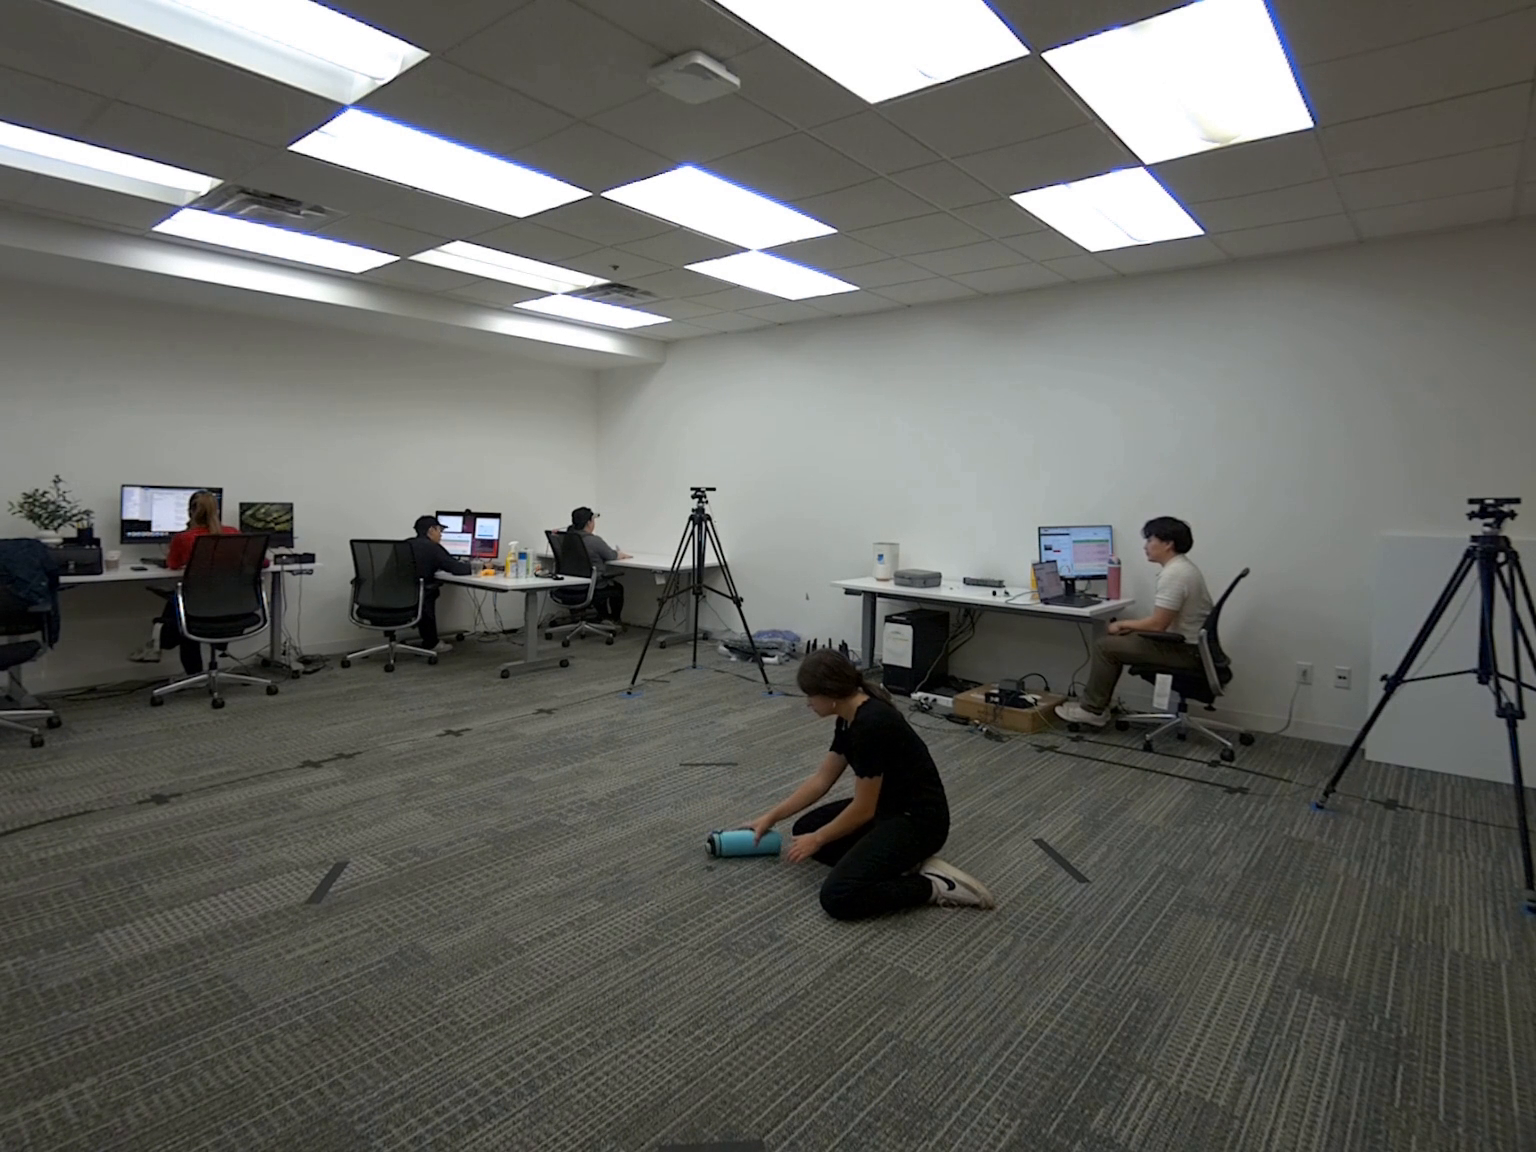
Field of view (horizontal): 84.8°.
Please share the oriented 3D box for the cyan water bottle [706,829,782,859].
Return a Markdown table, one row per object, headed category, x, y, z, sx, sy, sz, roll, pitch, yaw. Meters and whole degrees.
| category | x | y | z | sx | sy | sz | roll | pitch | yaw |
| --- | --- | --- | --- | --- | --- | --- | --- | --- | --- |
| cyan water bottle | -0.109 | 1.010 | 3.242 | 0.281 | 0.092 | 0.093 | -1 | 4 | -8 |
